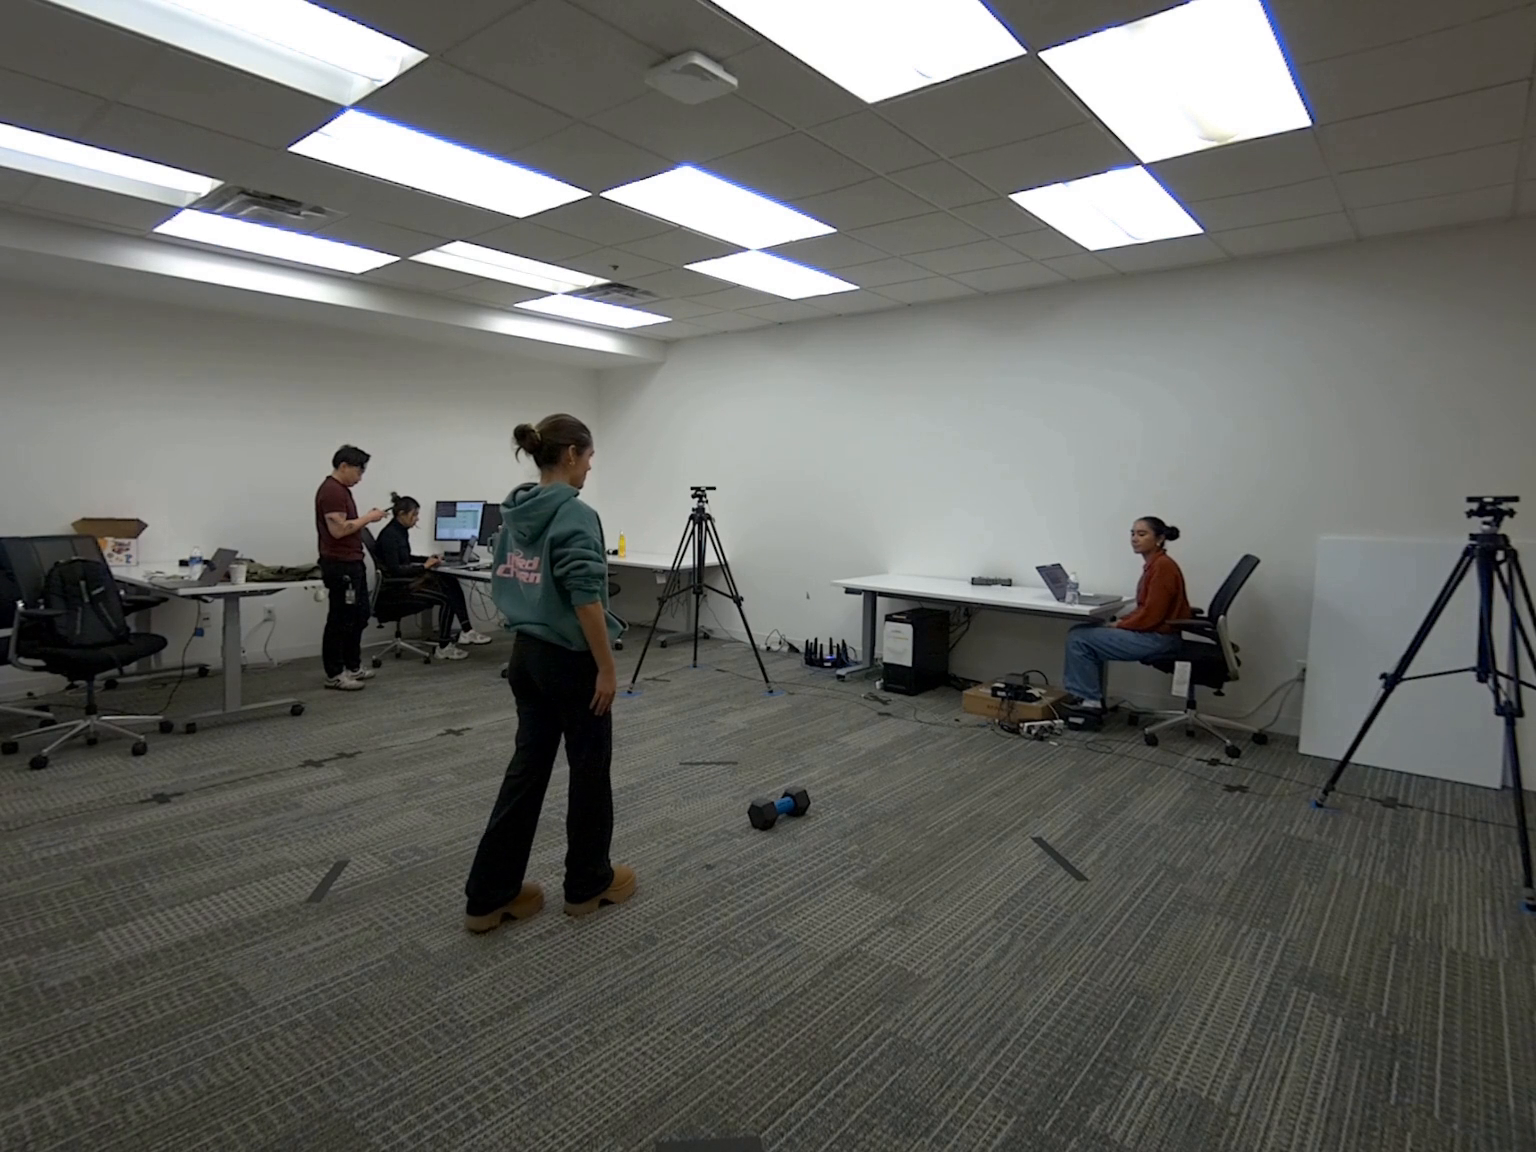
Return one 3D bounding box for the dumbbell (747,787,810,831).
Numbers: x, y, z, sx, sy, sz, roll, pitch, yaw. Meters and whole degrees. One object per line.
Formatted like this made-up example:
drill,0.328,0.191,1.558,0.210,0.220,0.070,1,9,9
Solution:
dumbbell,0.040,0.969,3.575,0.285,0.125,0.110,-5,-22,-47
